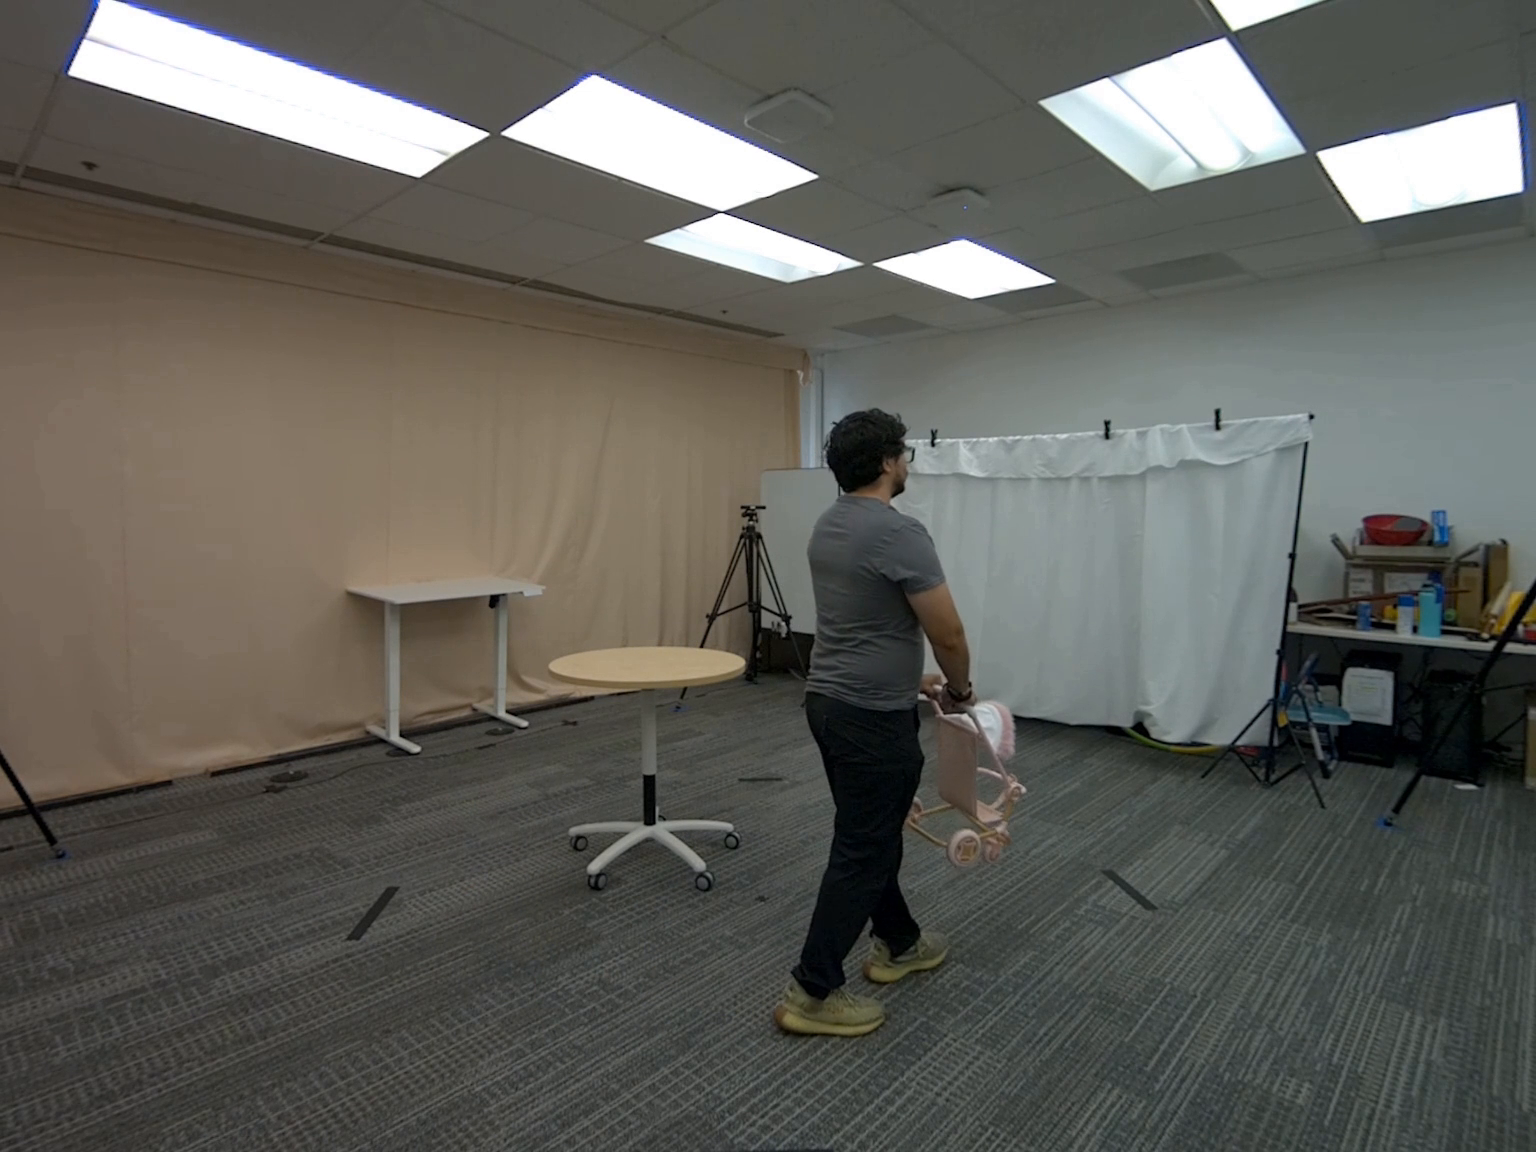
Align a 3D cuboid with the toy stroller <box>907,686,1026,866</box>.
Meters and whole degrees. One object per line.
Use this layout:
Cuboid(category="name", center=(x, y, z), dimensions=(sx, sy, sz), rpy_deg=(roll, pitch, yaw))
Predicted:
Cuboid(category="toy stroller", center=(0.617, 0.605, 2.519), dimensions=(0.333, 0.534, 0.289), rpy_deg=(6, 3, -25))
